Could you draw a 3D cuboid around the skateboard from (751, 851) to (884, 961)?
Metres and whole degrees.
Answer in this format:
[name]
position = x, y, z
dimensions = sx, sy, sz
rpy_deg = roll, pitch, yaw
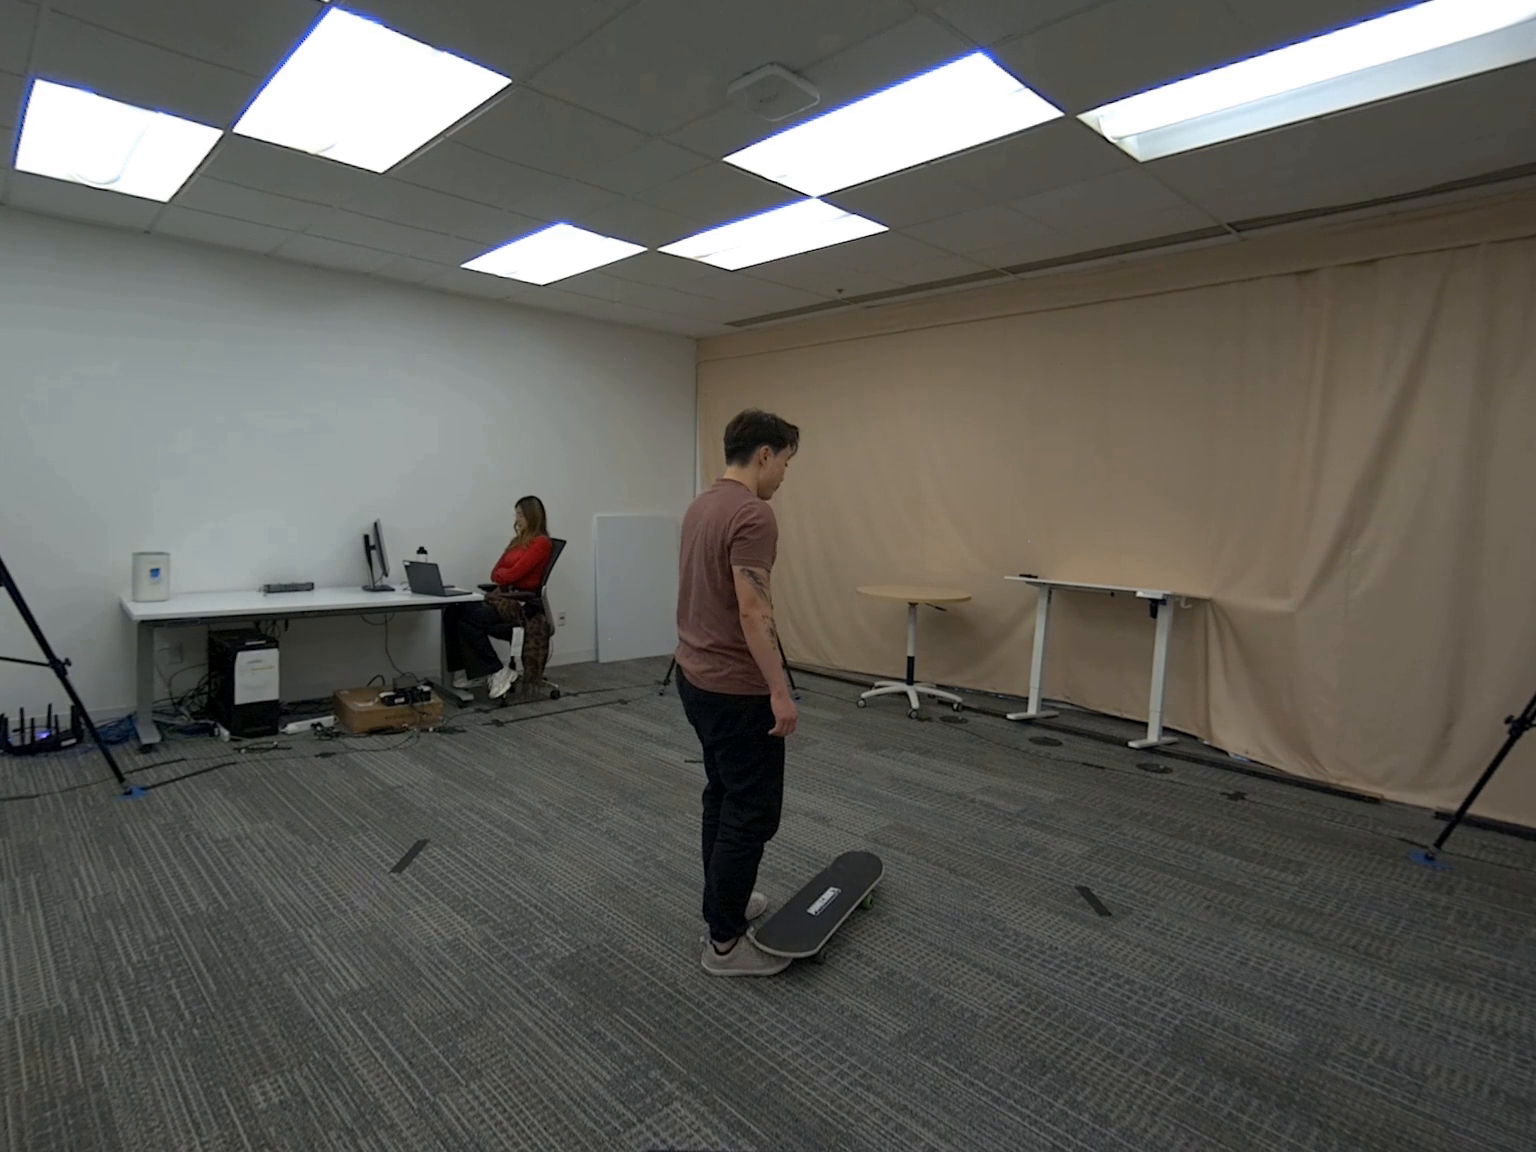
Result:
[skateboard]
position = 0.182, 1.084, 2.737
dimensions = 0.197, 0.110, 0.772
rpy_deg = 4, 6, 26
